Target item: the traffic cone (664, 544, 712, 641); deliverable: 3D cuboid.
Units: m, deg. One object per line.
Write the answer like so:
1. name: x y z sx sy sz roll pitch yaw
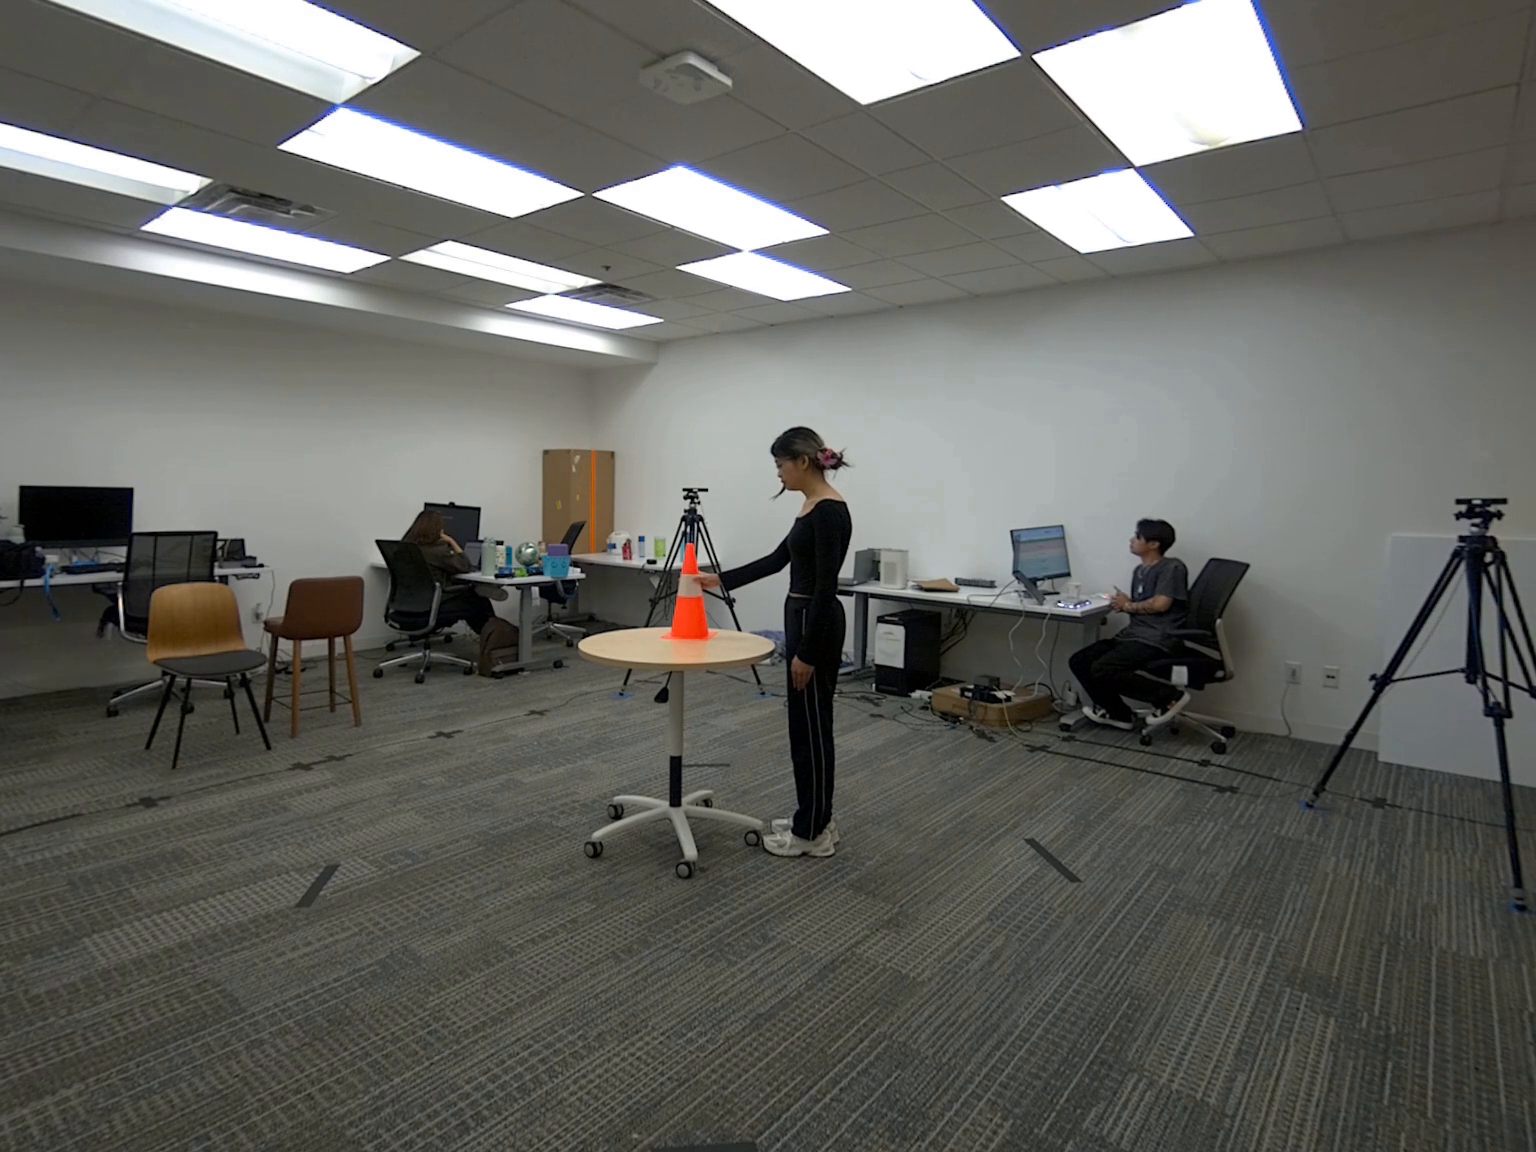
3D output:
1. traffic cone: -0.327 0.056 3.499 0.207 0.382 0.202 4 5 15
